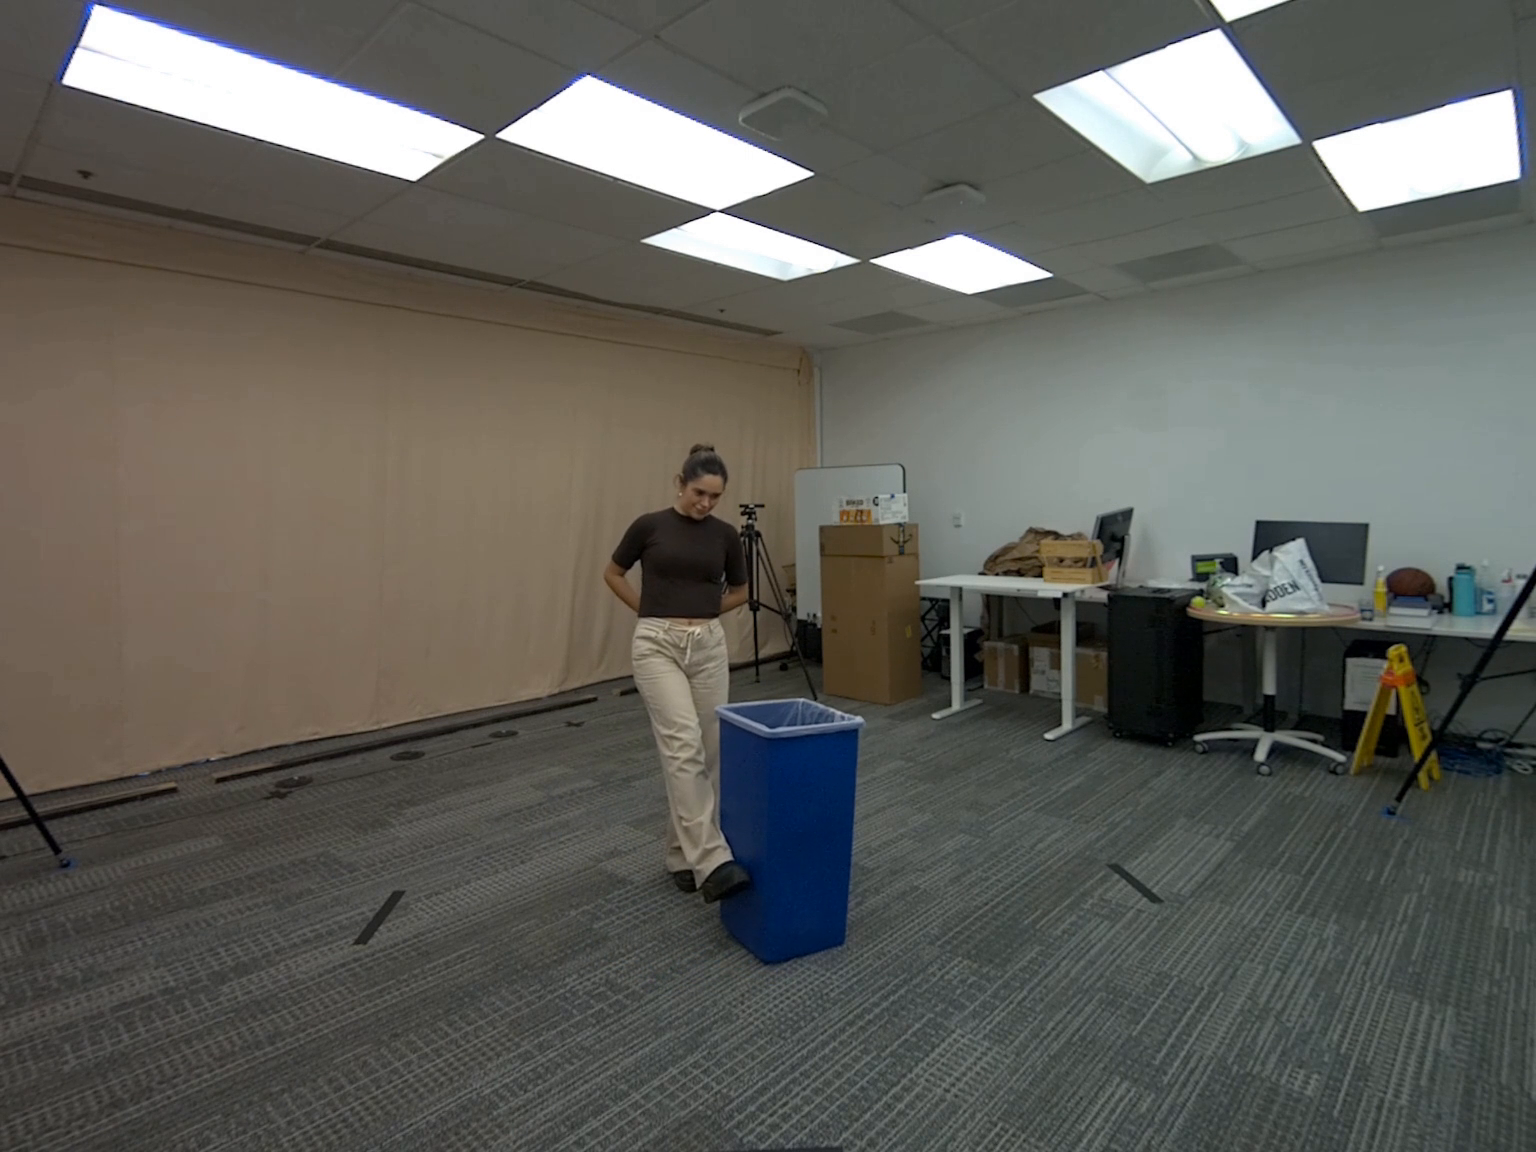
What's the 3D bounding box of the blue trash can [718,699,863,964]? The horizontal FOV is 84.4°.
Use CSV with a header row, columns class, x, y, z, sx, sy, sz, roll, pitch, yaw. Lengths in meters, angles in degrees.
class,x,y,z,sx,sy,sz,roll,pitch,yaw
blue trash can,0.051,0.797,2.715,0.367,0.713,0.385,0,2,-31
